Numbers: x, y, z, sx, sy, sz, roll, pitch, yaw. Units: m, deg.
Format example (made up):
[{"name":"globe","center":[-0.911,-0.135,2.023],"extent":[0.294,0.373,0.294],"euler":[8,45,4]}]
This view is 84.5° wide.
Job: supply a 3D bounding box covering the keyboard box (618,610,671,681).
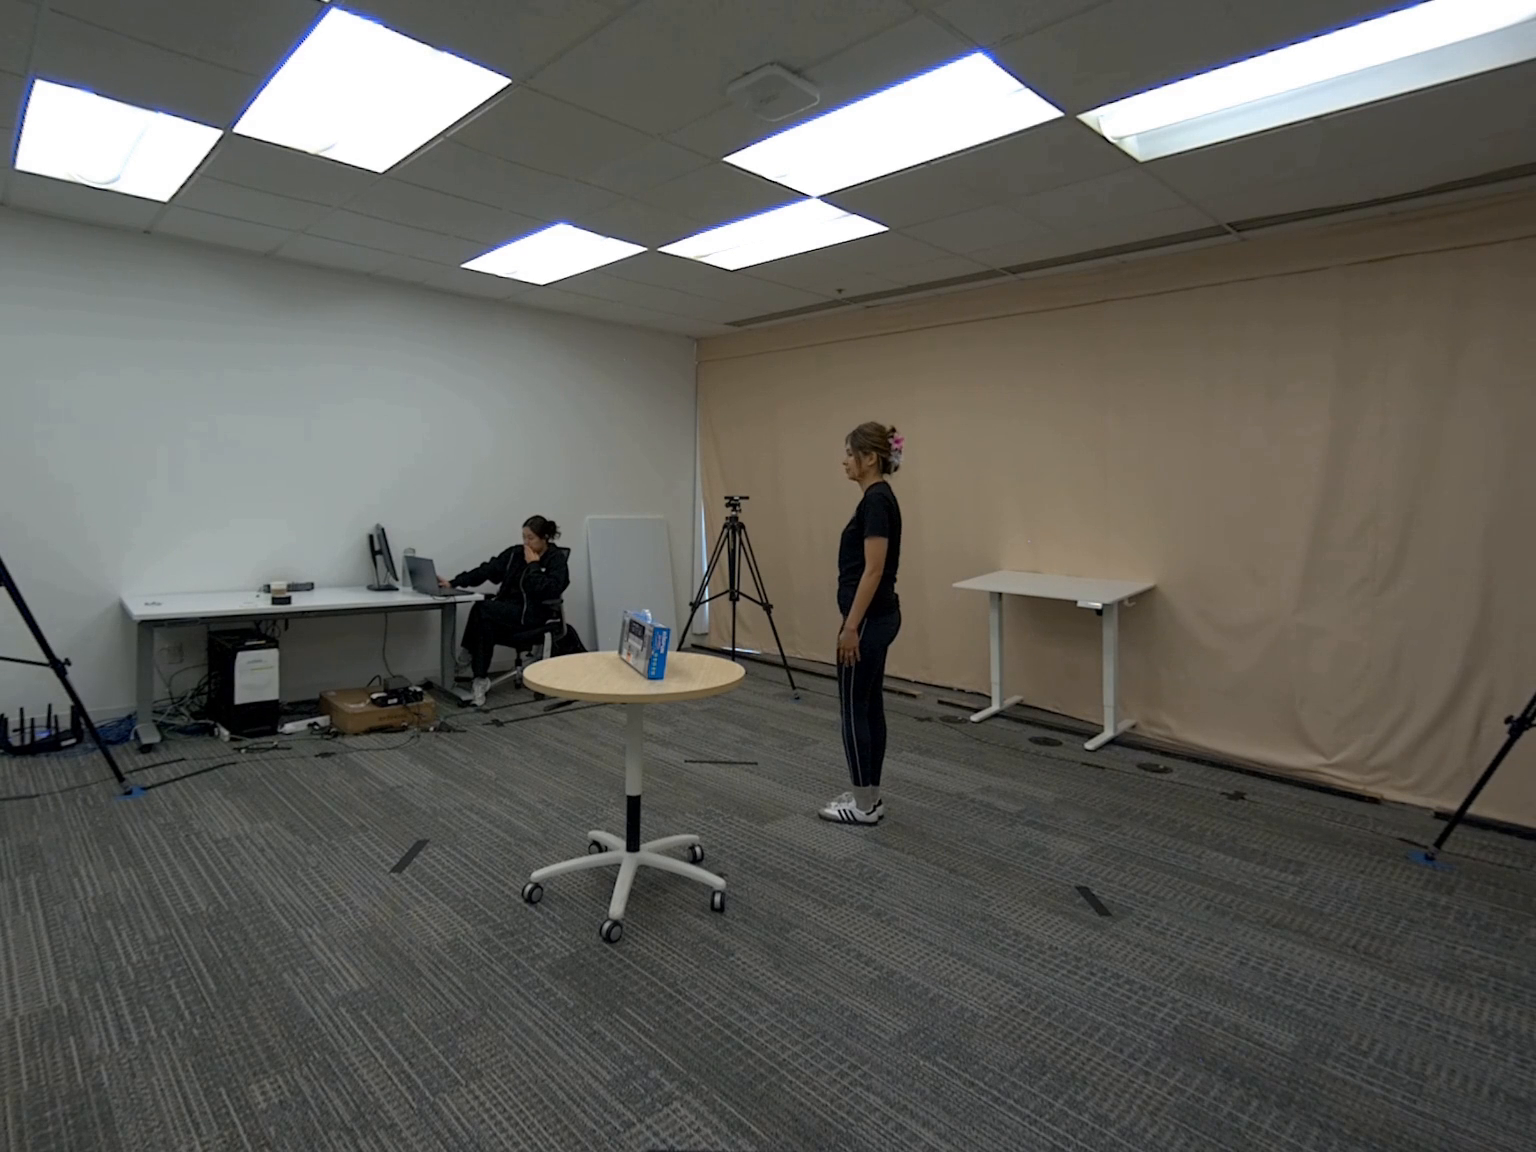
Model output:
[{"name":"keyboard box","center":[-0.449,0.239,2.968],"extent":[0.058,0.176,0.445],"euler":[8,2,-22]}]
